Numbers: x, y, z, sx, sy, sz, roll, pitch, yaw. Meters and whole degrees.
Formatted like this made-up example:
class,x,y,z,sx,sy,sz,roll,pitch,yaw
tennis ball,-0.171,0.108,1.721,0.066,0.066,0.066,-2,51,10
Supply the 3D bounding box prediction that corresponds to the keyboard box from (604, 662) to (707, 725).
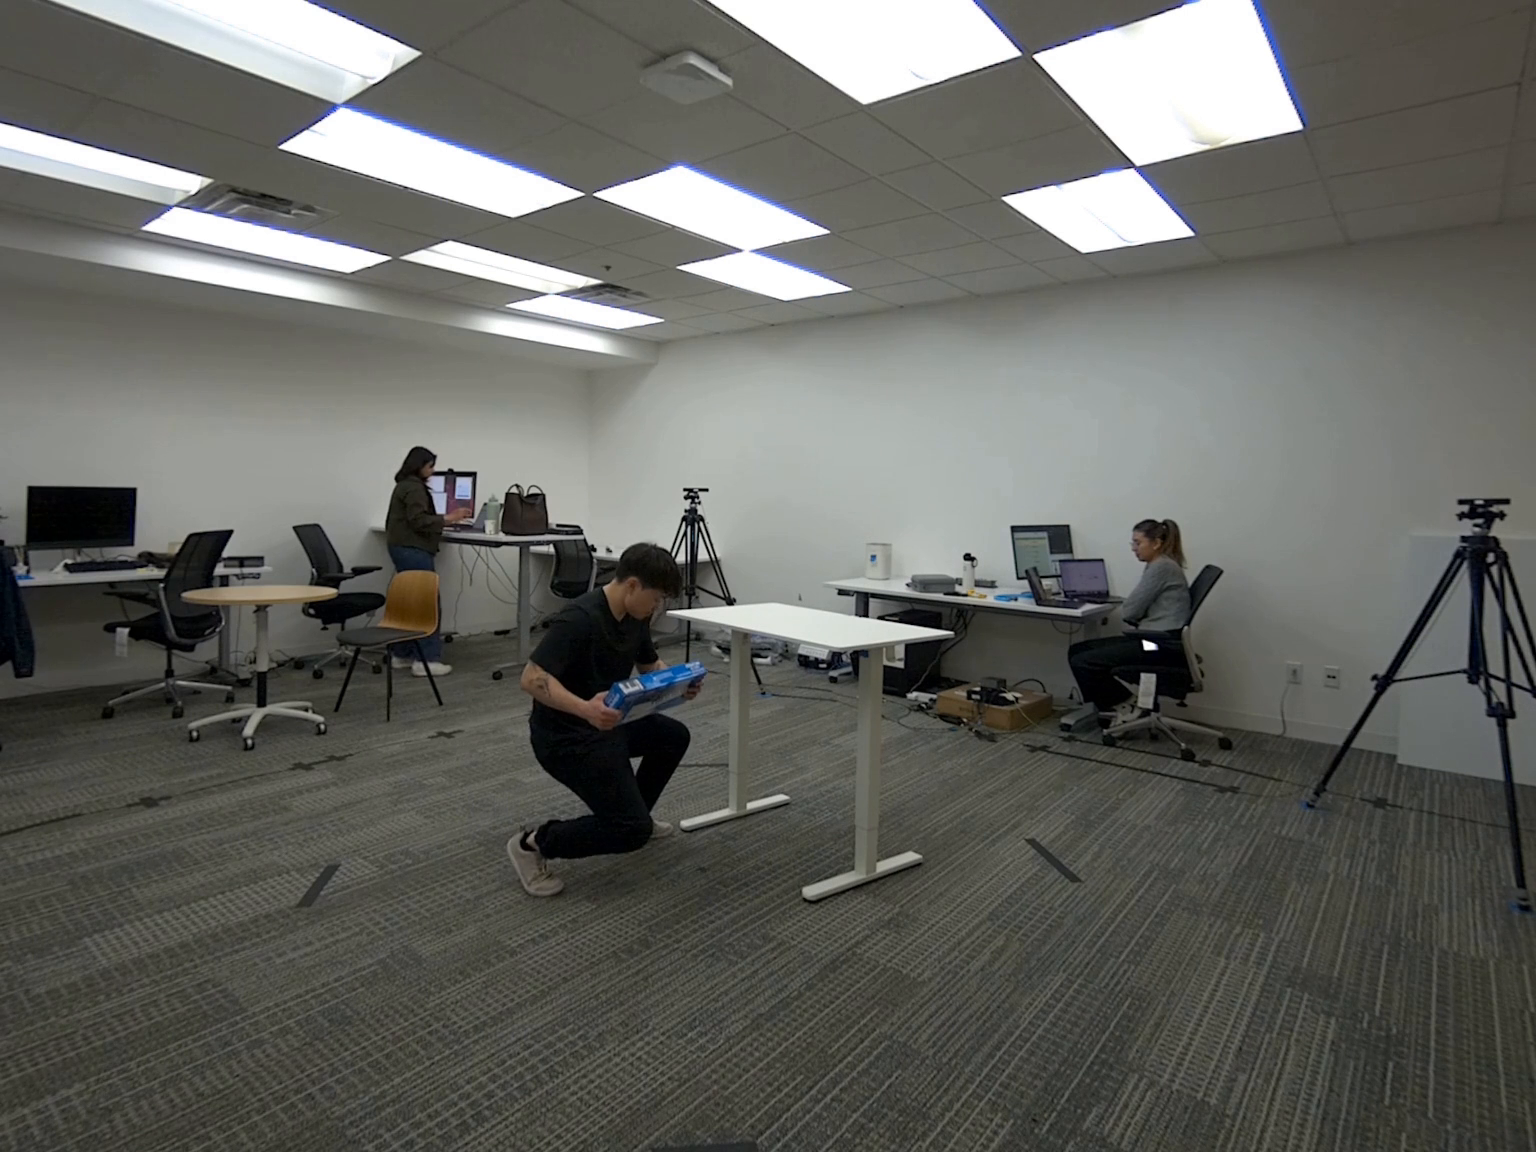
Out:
class,x,y,z,sx,sy,sz,roll,pitch,yaw
keyboard box,-0.418,0.399,2.898,0.061,0.175,0.425,50,30,20
